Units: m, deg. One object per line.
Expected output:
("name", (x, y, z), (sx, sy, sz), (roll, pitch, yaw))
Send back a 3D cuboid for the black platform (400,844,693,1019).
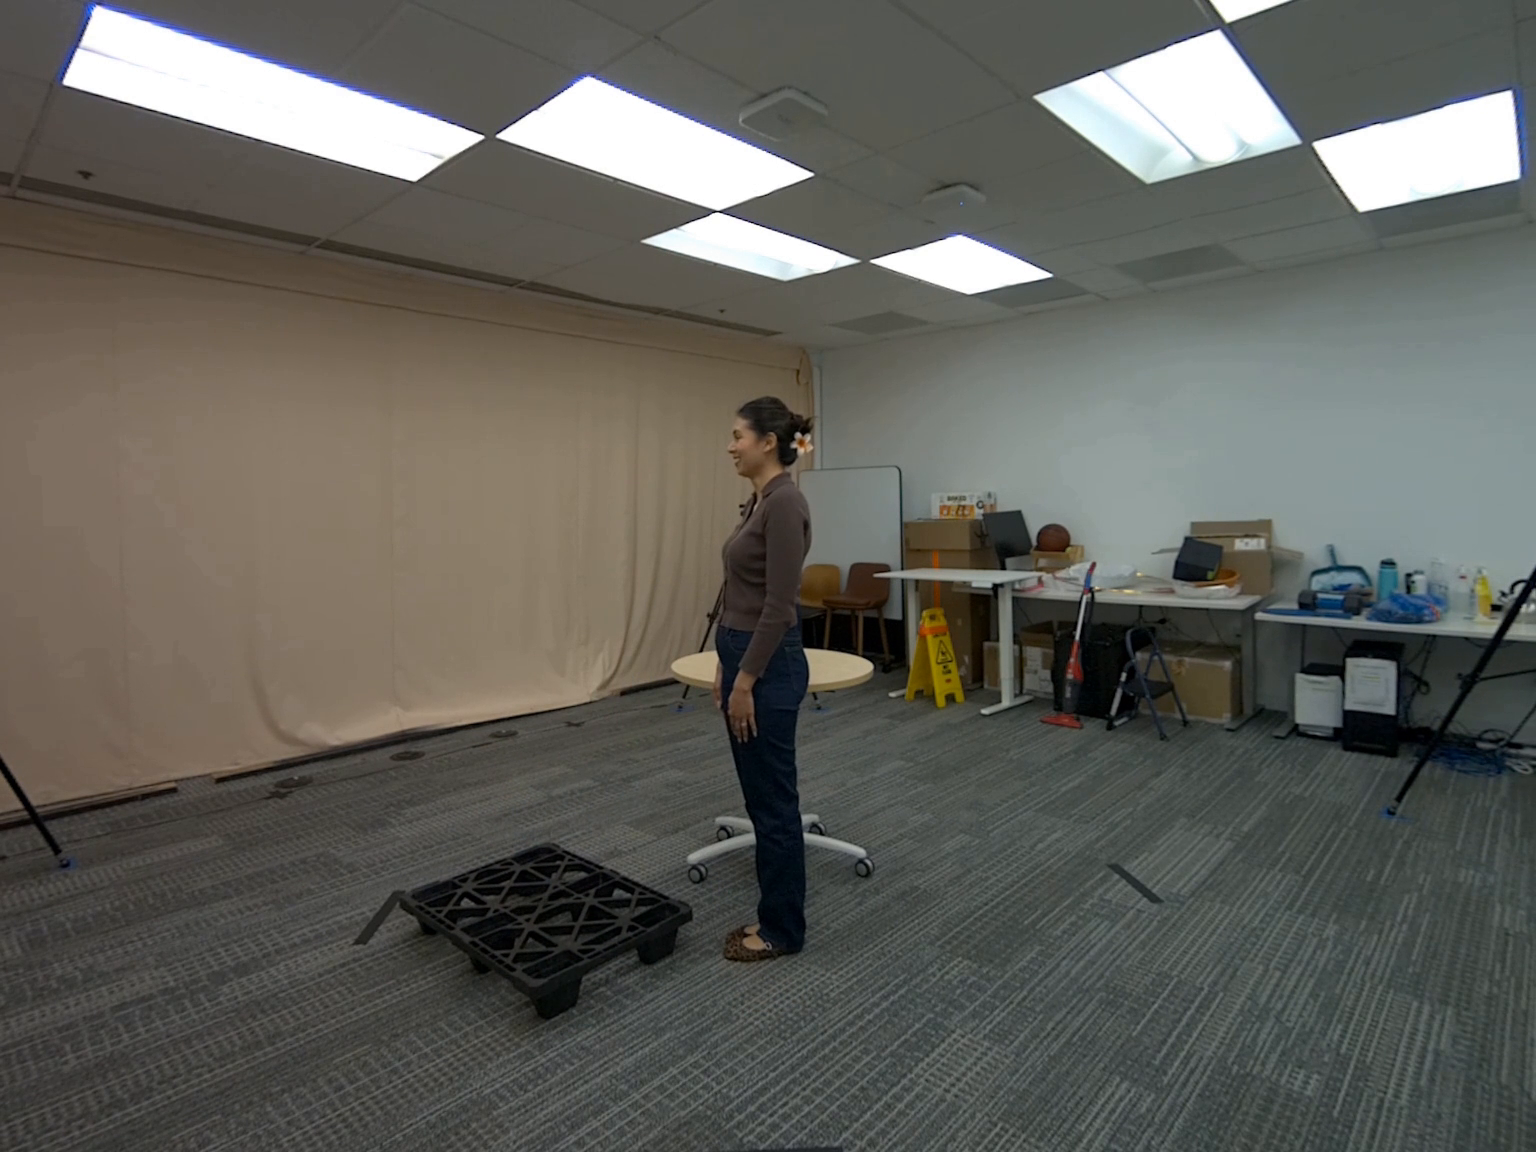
("black platform", (-0.726, 1.114, 2.712), (0.832, 0.143, 0.587), (3, 6, 43))
